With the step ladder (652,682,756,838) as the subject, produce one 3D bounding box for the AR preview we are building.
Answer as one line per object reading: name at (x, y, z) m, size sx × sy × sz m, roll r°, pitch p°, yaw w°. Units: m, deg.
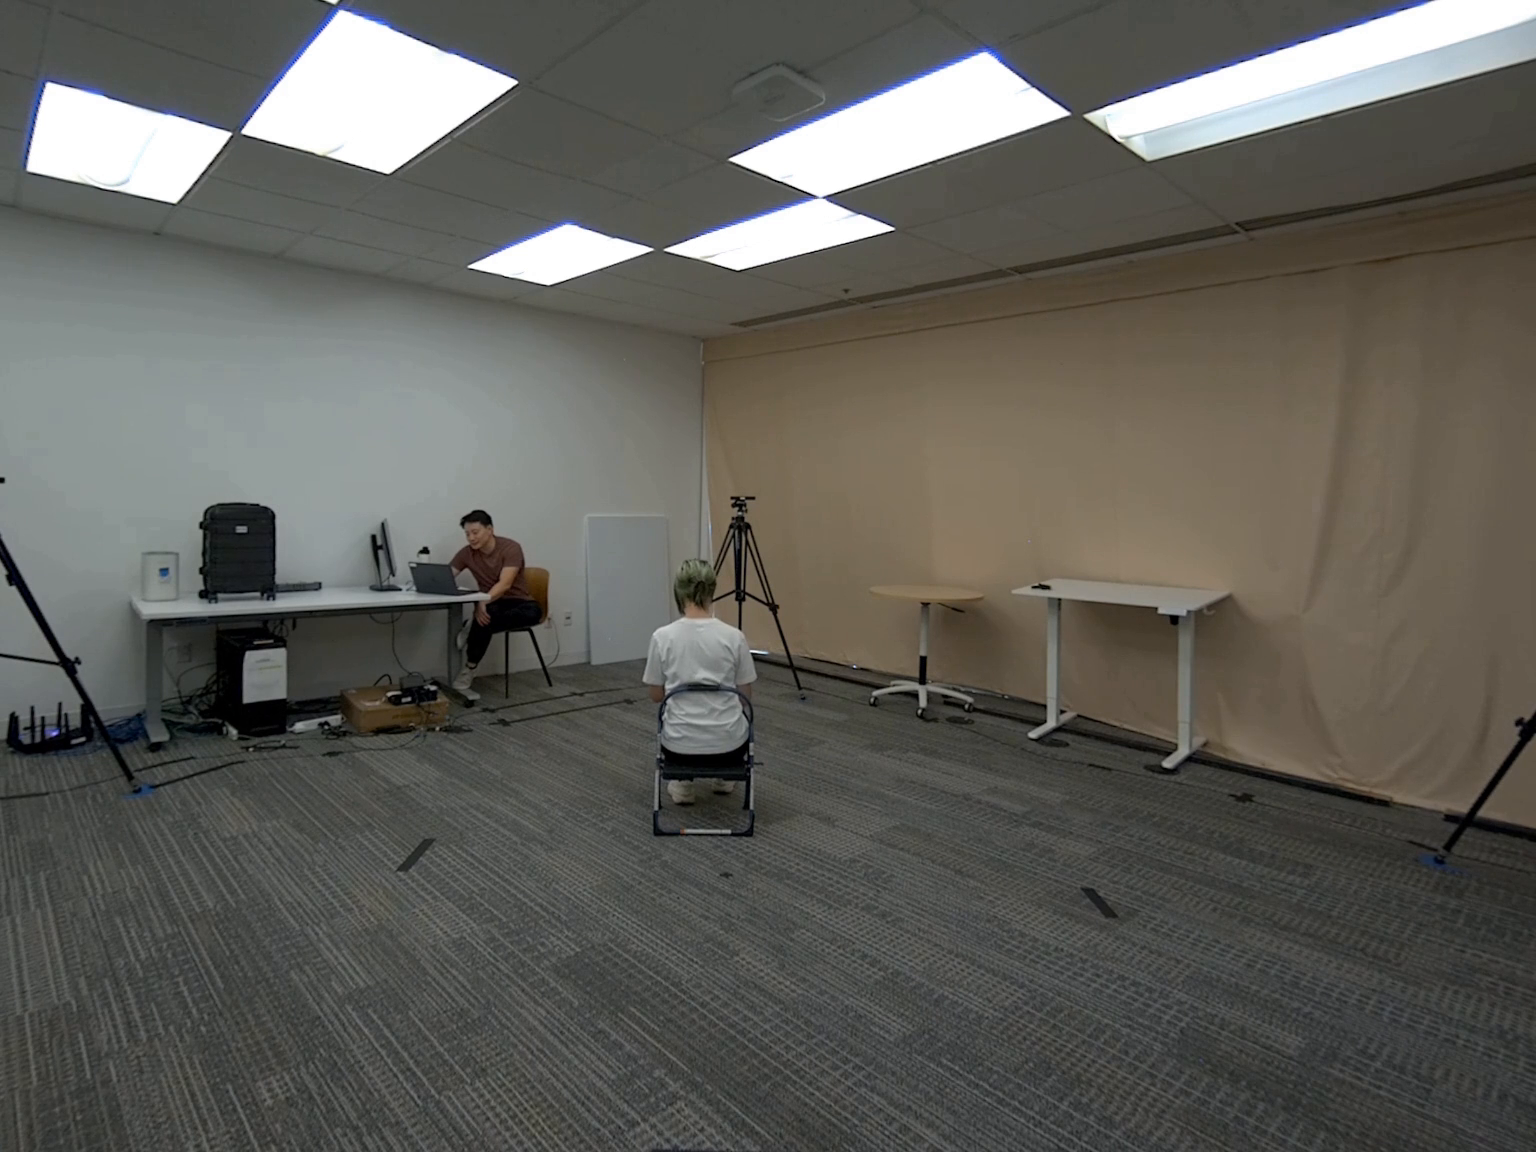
step ladder at (-0.284, 0.763, 3.613) m, size 0.429 × 0.605 × 0.351 m, roll 1°, pitch 1°, yaw -5°
